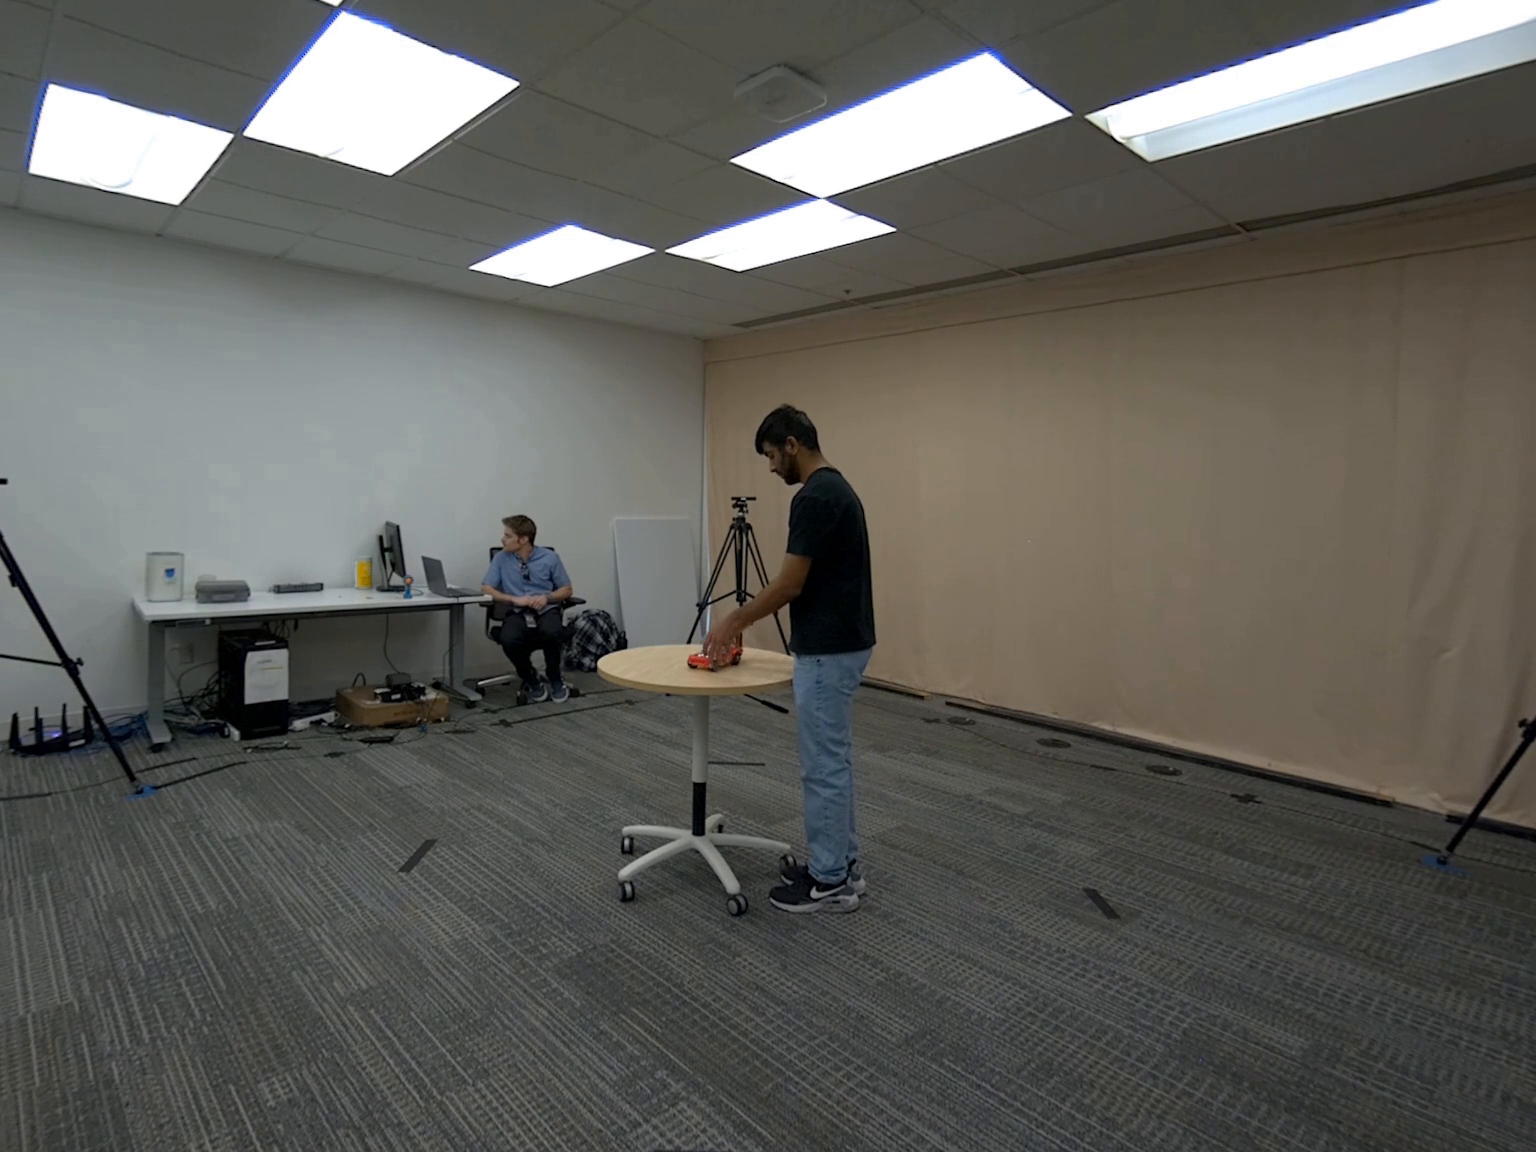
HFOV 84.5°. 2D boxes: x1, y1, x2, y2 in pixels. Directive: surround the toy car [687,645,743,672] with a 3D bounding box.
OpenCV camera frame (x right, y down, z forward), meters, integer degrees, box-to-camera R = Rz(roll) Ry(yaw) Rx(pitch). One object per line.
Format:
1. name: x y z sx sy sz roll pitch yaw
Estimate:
1. toy car: -0.185 0.296 3.065 0.133 0.082 0.252 4 17 30
